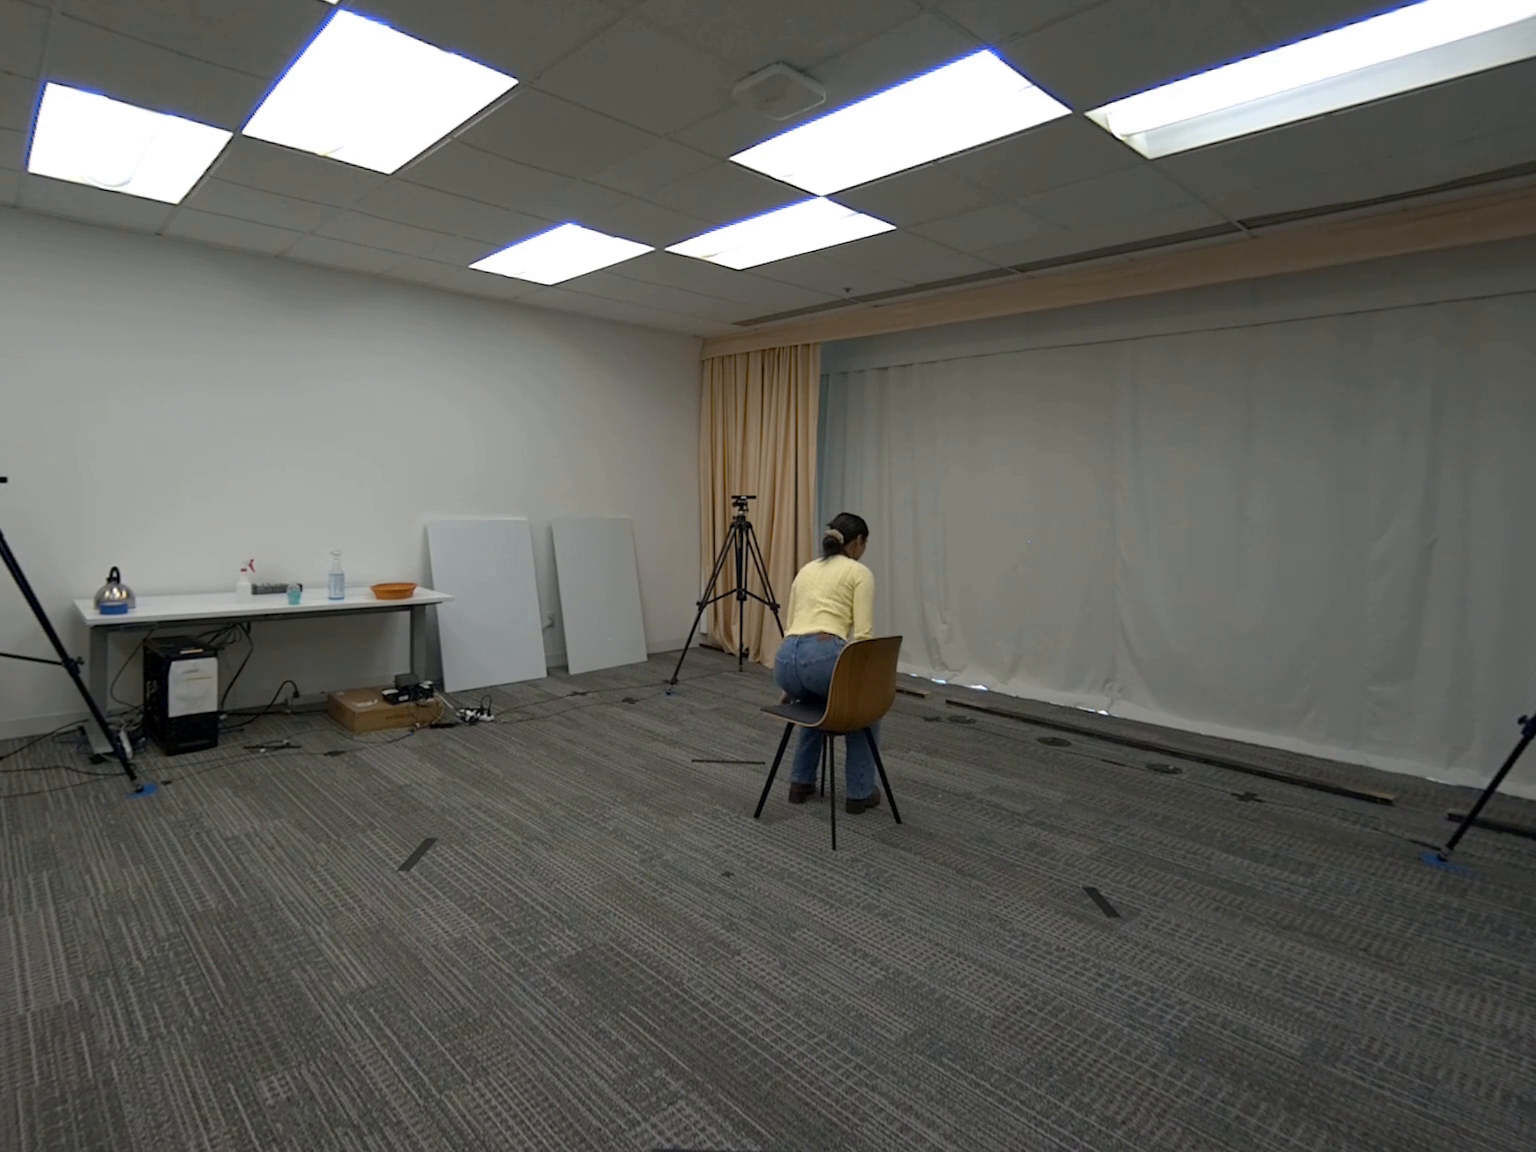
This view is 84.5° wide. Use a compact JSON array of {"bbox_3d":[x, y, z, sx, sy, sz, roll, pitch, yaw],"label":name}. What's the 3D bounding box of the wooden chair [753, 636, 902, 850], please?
[{"bbox_3d":[0.249,0.638,3.627,0.467,0.874,0.537,-1,8,-44],"label":"wooden chair"}]
